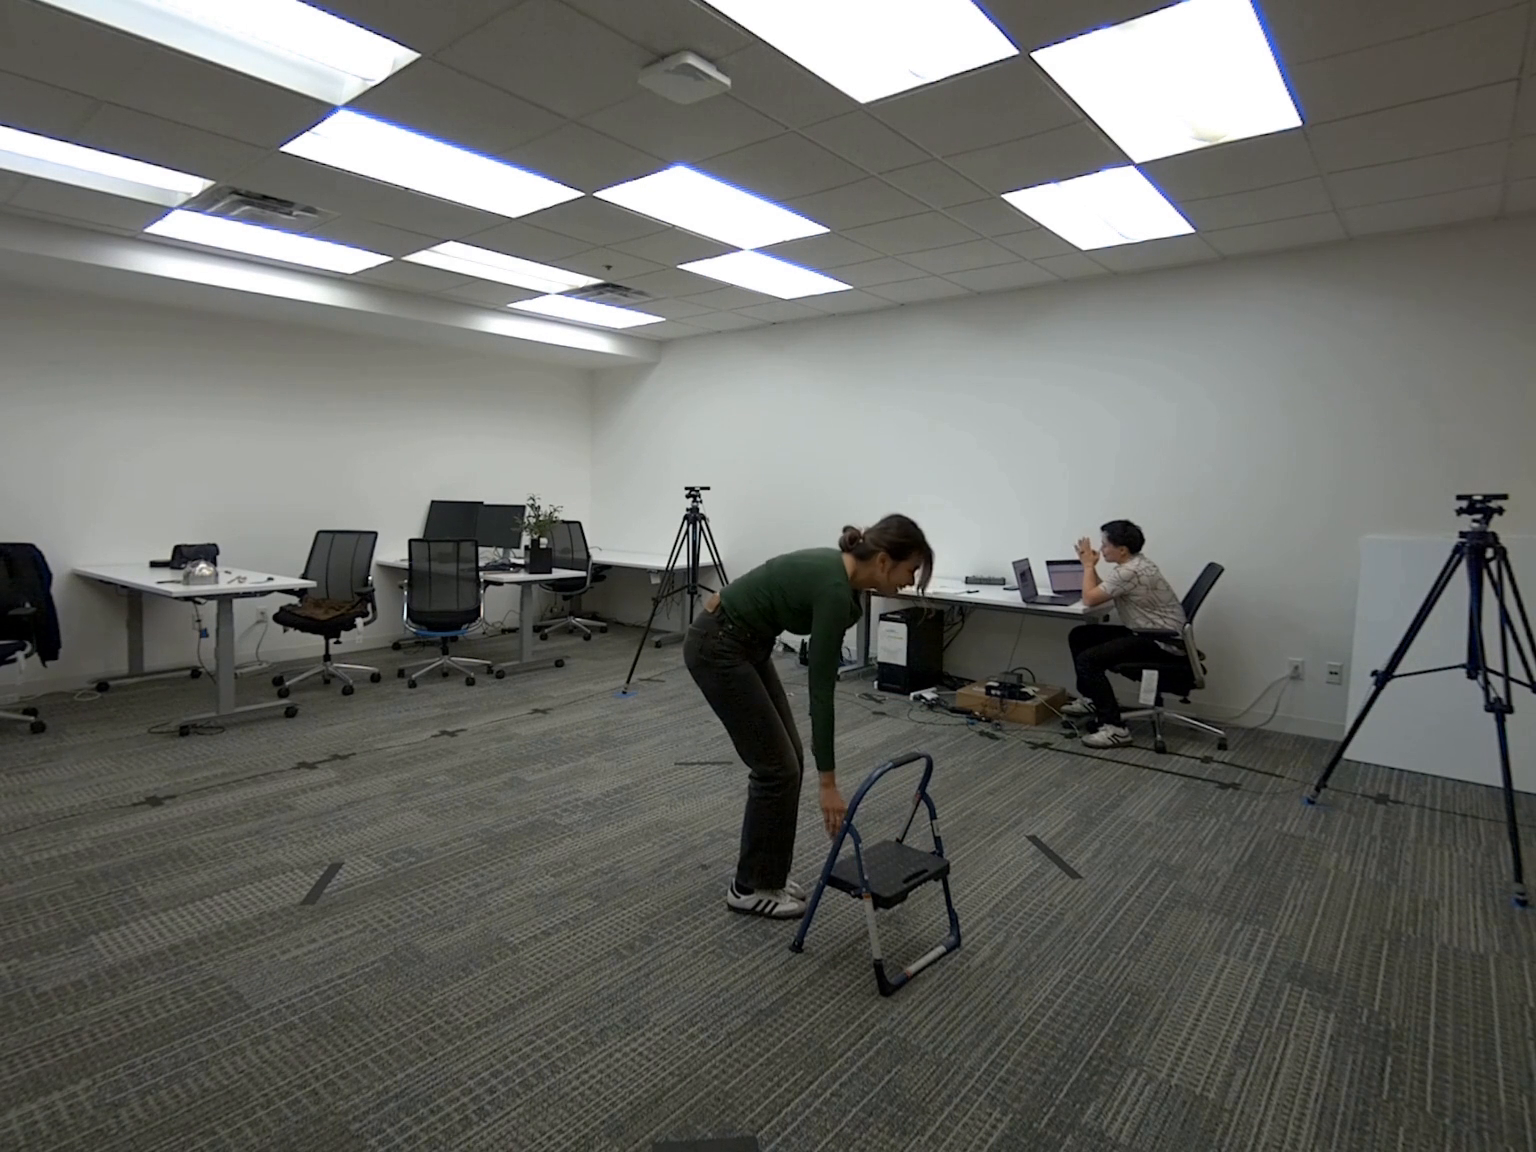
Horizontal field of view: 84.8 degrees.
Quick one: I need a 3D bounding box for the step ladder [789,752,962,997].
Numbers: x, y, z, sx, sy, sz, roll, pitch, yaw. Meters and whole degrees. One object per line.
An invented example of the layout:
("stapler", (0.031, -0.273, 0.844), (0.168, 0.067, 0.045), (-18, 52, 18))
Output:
("step ladder", (0.332, 0.825, 2.580), (0.361, 0.604, 0.417), (5, 5, 43))
